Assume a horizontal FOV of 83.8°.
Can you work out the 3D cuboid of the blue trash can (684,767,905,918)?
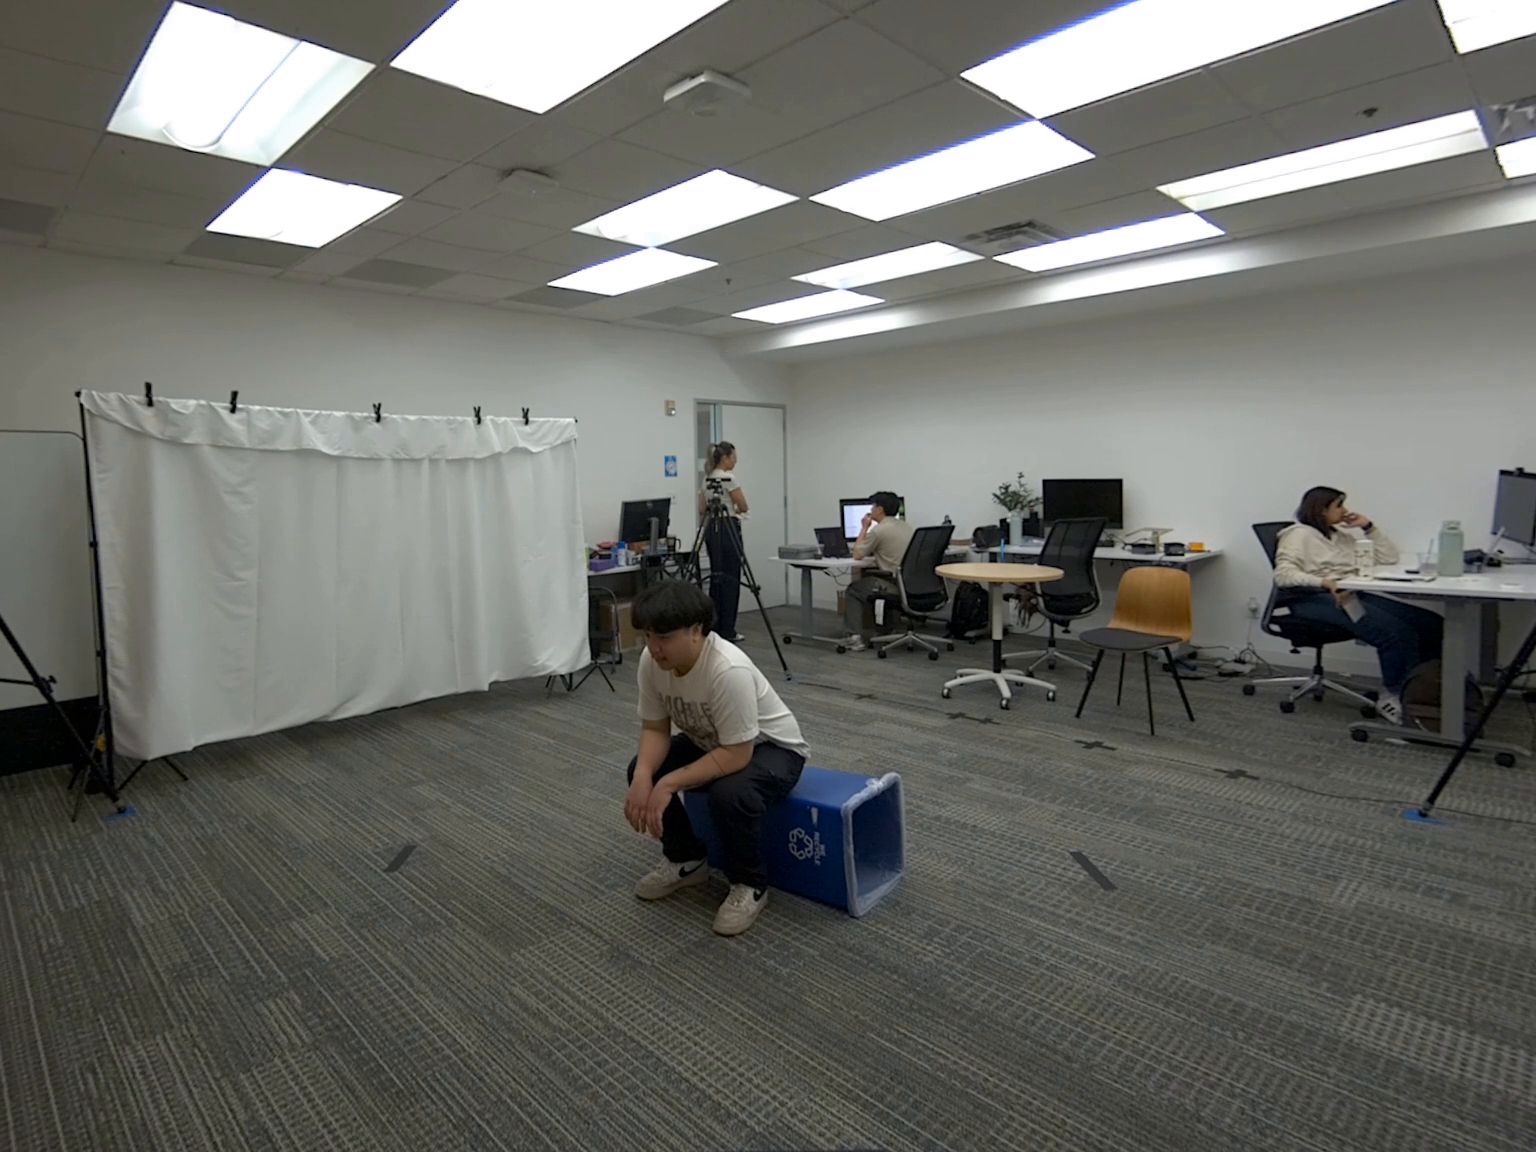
[{"bbox_3d":[0.080,0.882,3.044,0.733,0.373,0.369,-1,6,37],"label":"blue trash can"}]
